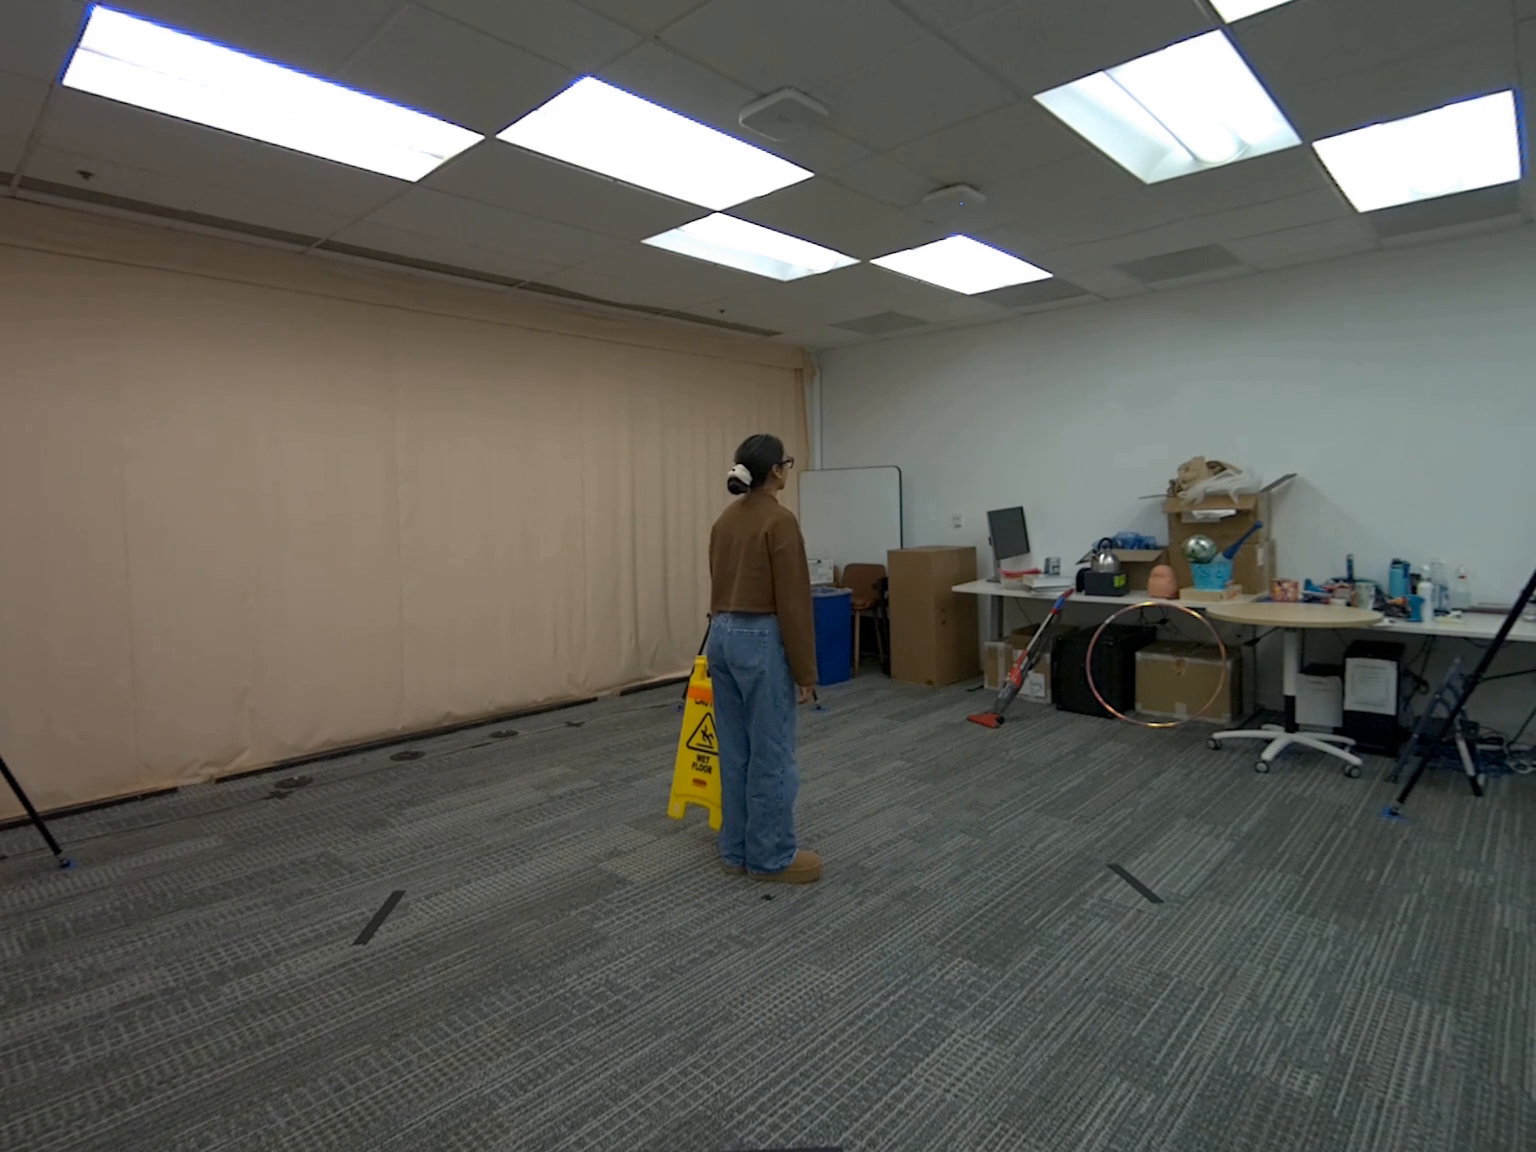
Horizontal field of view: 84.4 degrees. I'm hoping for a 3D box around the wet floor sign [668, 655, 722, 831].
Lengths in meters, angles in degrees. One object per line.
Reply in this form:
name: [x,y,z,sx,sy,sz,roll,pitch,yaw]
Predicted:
wet floor sign: [-0.219,0.660,3.456,0.290,0.644,0.282,3,6,30]
